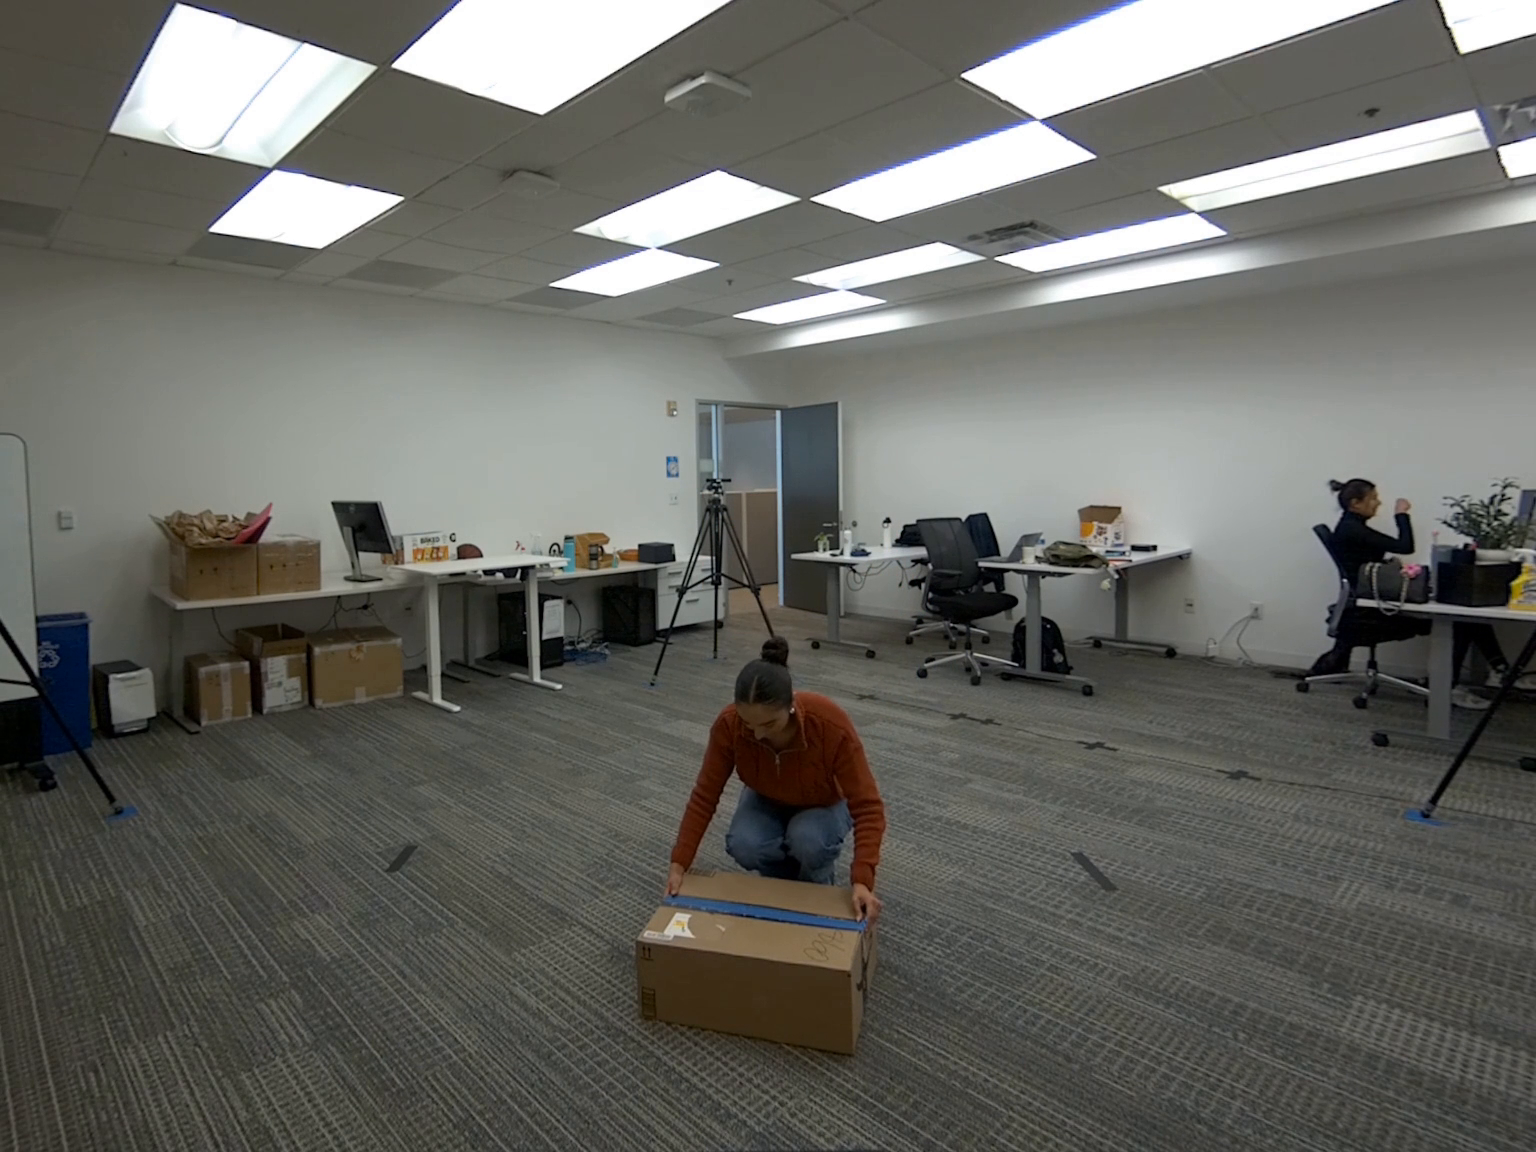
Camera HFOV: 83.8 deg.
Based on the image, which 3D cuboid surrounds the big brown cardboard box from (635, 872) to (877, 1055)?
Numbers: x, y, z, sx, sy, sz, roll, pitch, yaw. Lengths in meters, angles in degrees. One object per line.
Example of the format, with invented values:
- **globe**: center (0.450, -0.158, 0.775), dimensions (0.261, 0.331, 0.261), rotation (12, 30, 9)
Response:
- **big brown cardboard box**: center (-0.020, 1.028, 2.334), dimensions (0.598, 0.232, 0.413), rotation (1, 6, 16)
